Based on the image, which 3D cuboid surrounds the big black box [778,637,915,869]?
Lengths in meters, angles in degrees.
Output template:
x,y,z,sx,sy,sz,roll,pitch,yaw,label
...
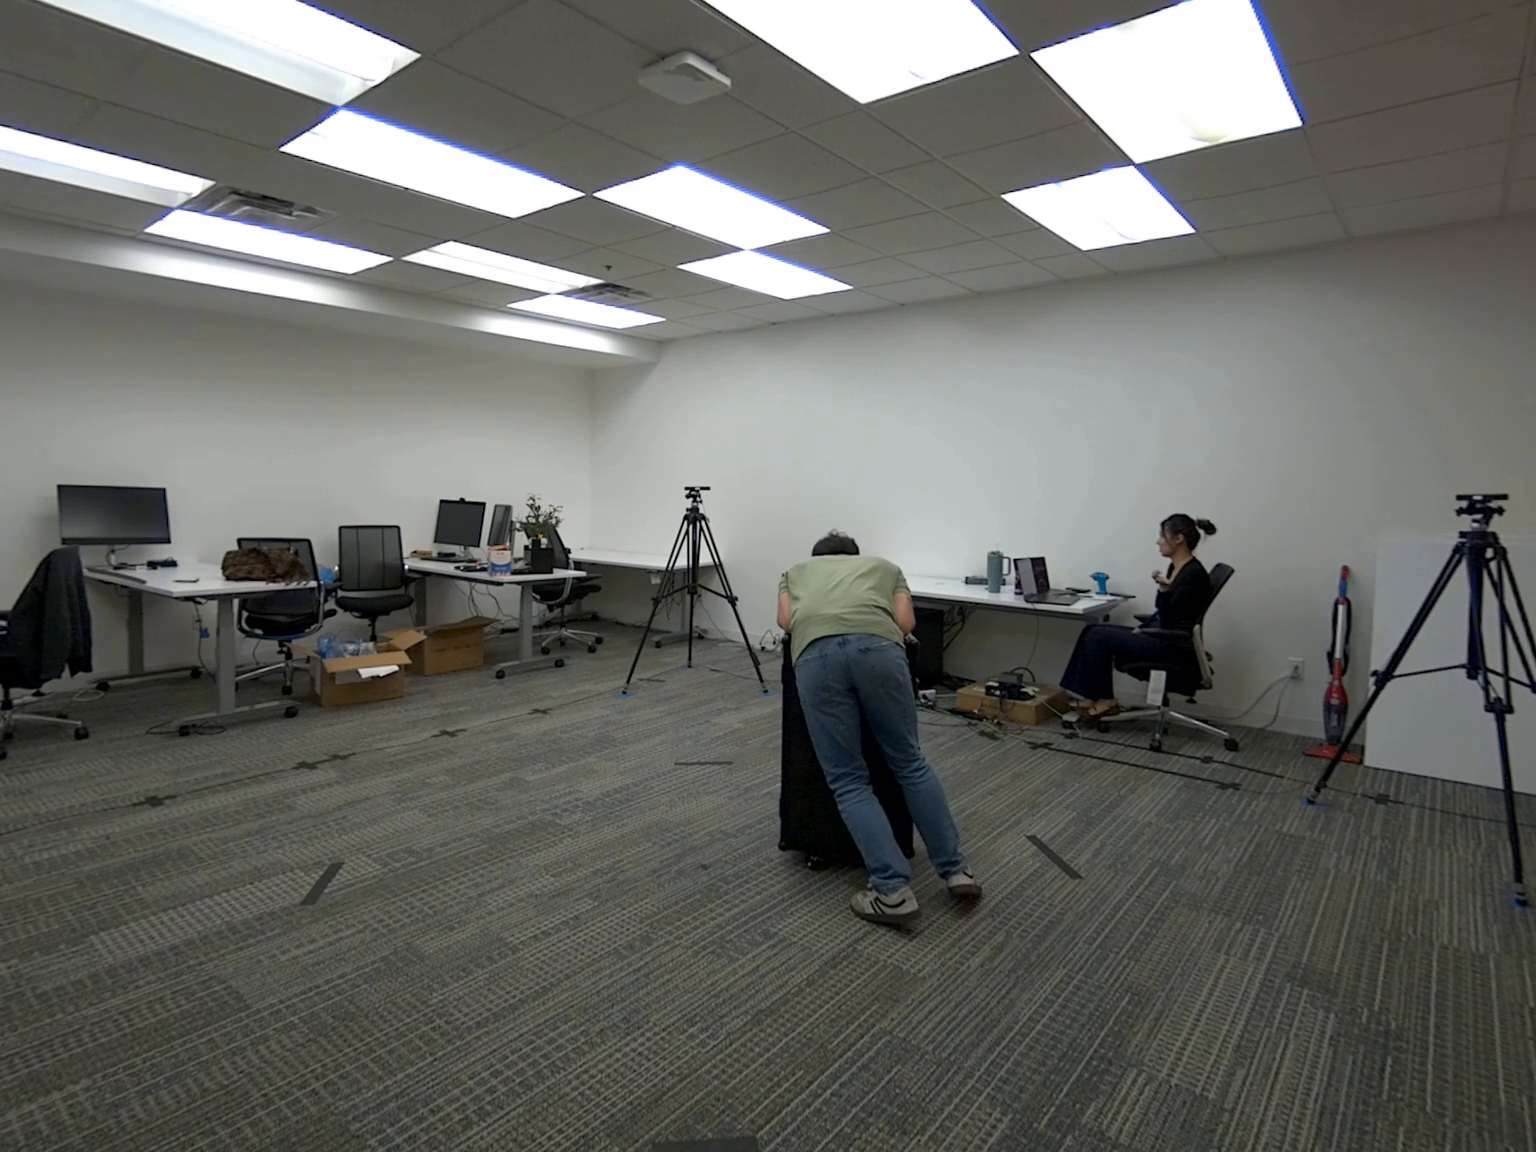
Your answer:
x,y,z,sx,sy,sz,roll,pitch,yaw,label
0.283,0.637,3.251,0.525,0.860,0.394,1,2,5,big black box
